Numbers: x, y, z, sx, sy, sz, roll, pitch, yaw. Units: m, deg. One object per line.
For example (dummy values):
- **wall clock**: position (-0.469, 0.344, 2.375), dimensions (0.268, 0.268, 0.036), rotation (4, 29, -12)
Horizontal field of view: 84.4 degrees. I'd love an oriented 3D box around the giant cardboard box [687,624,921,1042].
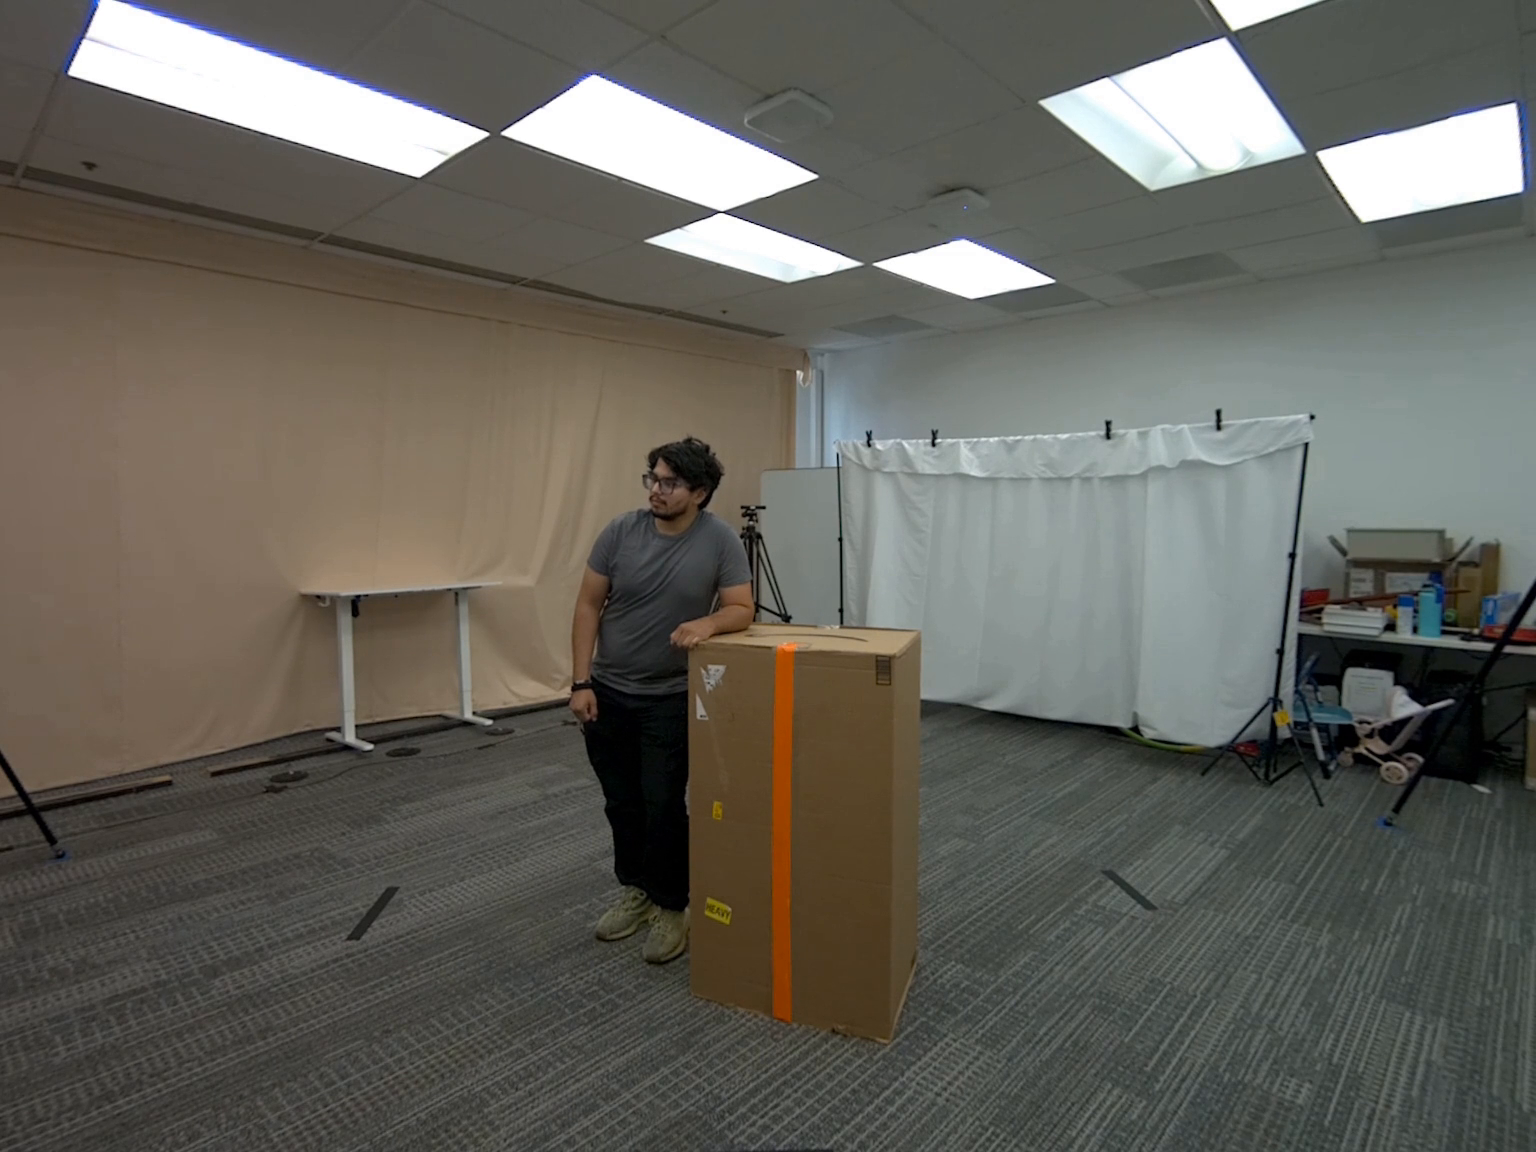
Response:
- **giant cardboard box**: position (0.124, 0.682, 2.441), dimensions (0.591, 1.024, 0.417), rotation (1, 4, 23)
